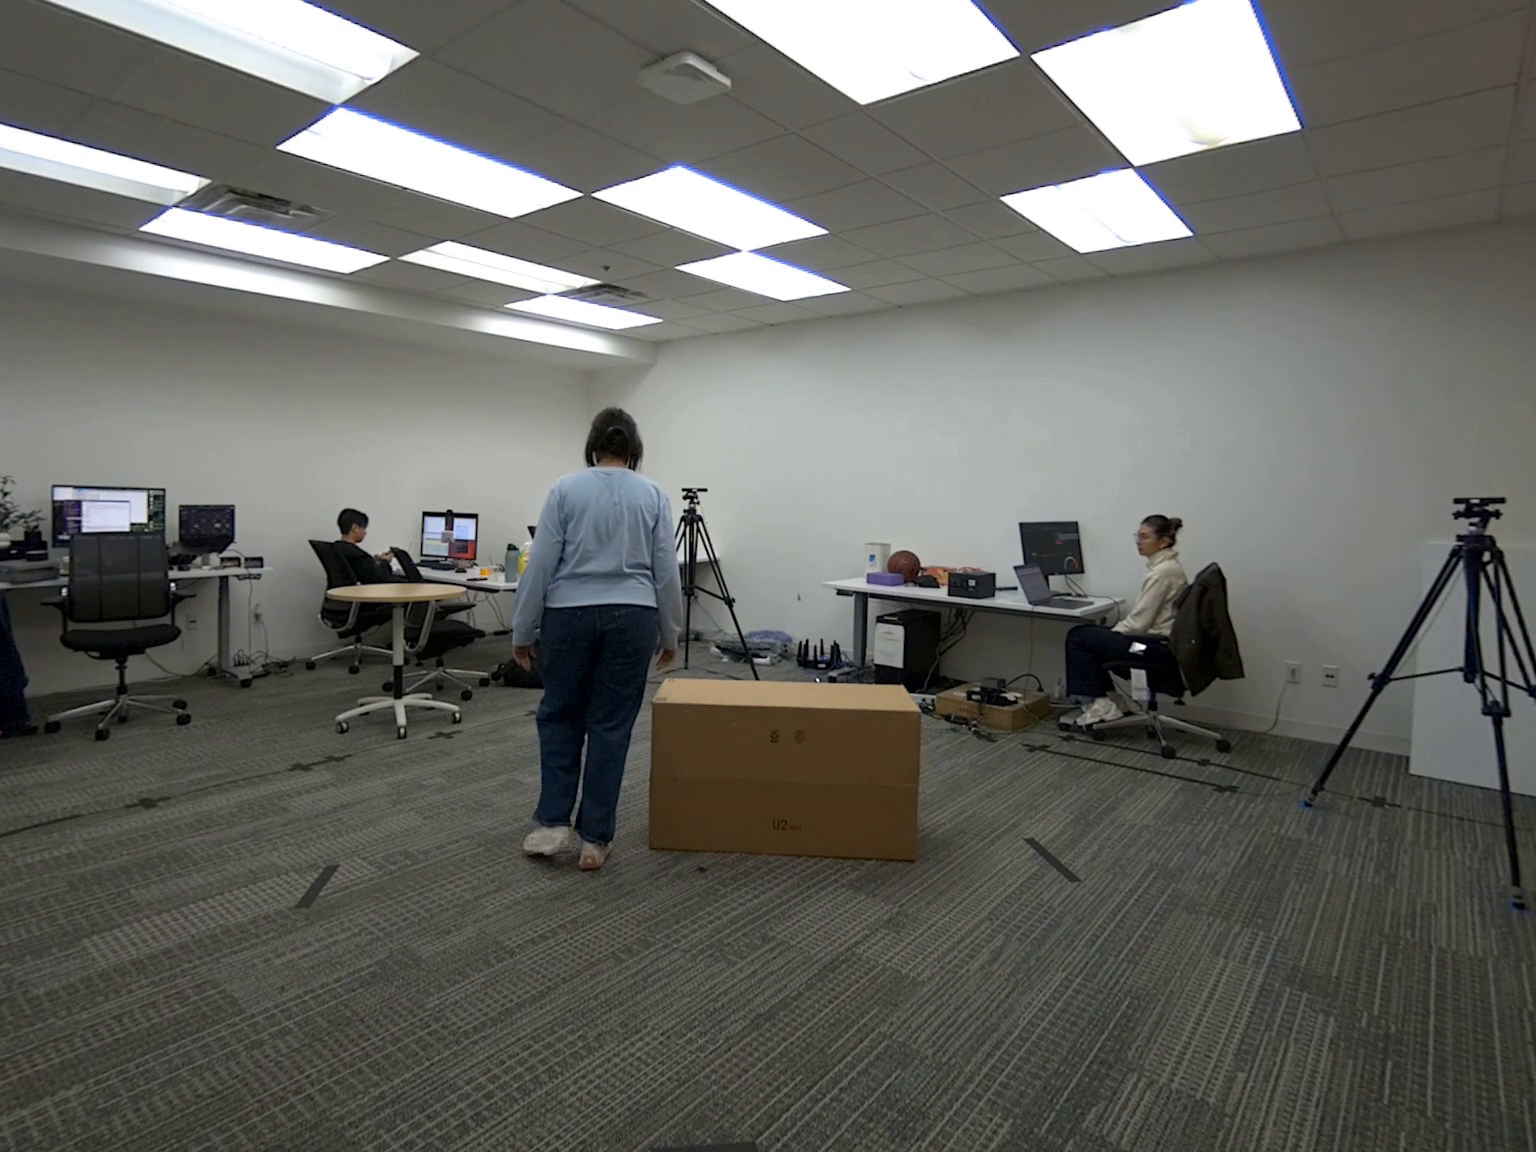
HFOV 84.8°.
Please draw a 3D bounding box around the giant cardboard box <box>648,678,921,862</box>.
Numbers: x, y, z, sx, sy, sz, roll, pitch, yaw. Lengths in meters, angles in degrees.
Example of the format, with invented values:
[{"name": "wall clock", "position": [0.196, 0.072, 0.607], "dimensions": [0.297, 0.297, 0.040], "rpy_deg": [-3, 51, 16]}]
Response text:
[{"name": "giant cardboard box", "position": [0.054, 0.753, 3.441], "dimensions": [1.030, 0.576, 0.426], "rpy_deg": [1, 3, 3]}]
